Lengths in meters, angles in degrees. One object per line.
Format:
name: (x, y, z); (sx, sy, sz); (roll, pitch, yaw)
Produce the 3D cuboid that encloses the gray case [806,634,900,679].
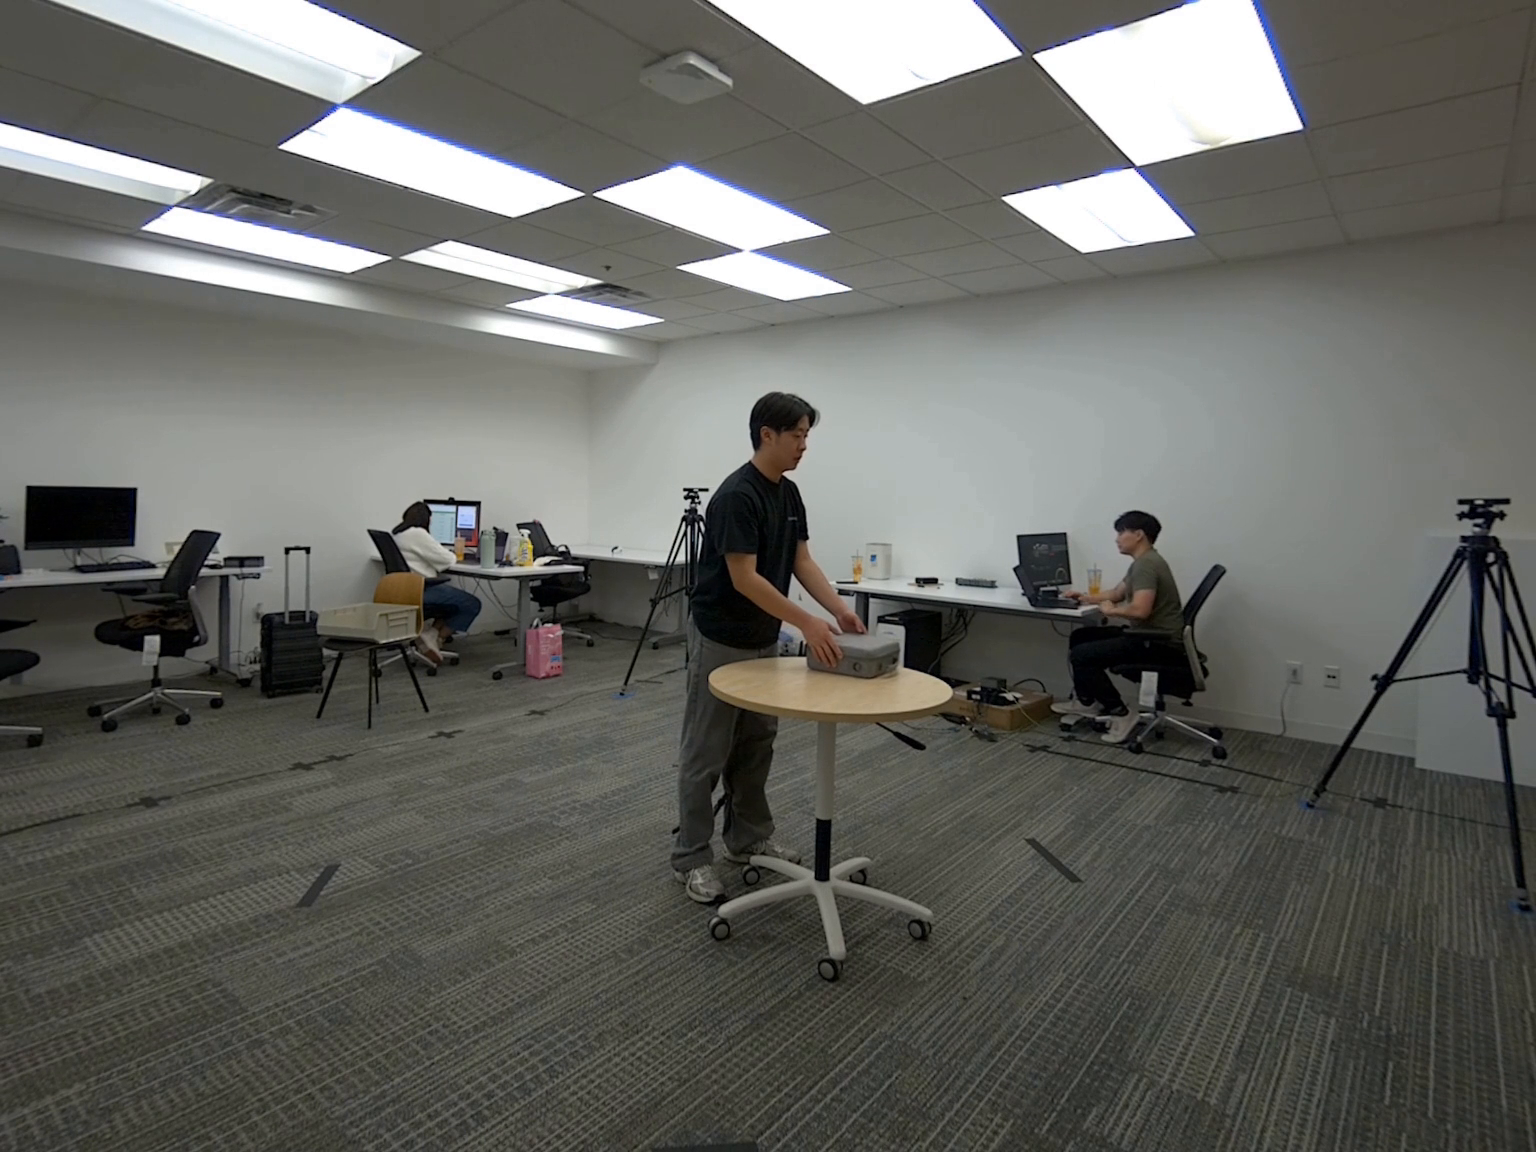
gray case: (0.301, 0.269, 2.901); (0.296, 0.102, 0.256); (7, 7, 34)
